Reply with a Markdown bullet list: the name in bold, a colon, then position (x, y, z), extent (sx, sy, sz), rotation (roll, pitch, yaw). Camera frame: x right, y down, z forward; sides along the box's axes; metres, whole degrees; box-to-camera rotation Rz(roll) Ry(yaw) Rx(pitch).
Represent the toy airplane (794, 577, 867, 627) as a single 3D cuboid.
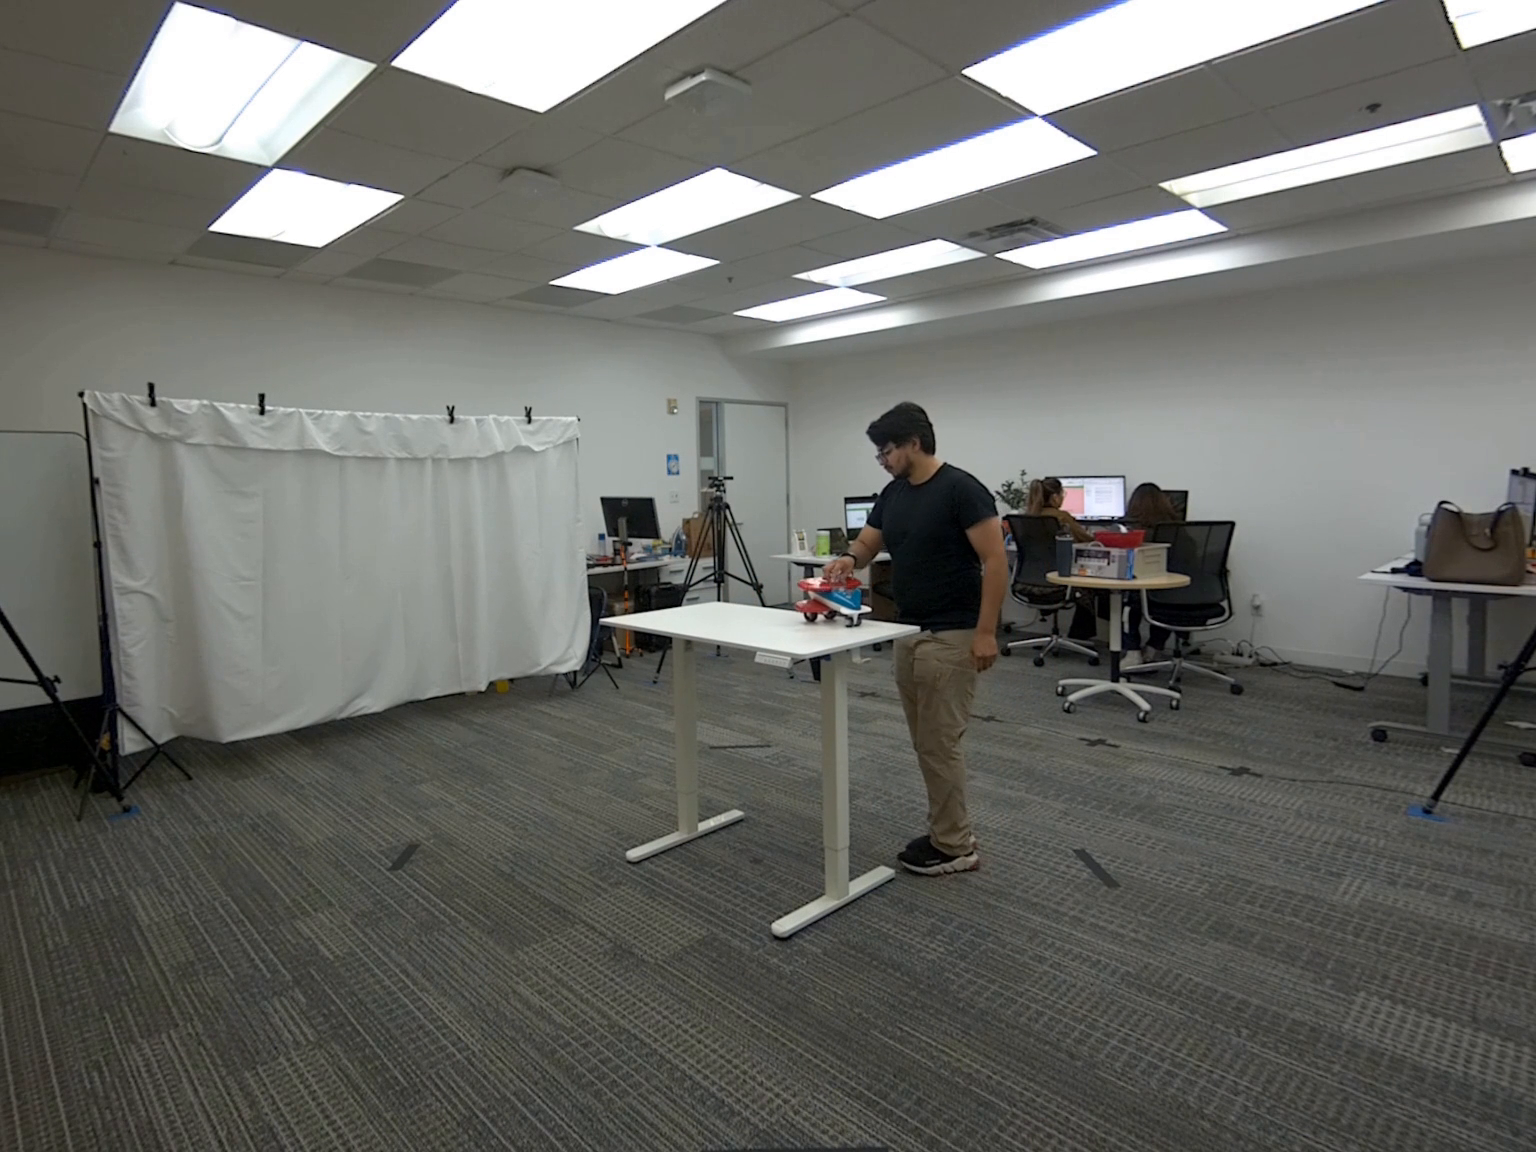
- **toy airplane**: position (0.249, 0.084, 2.969), extent (0.266, 0.156, 0.246), rotation (1, 6, 30)
